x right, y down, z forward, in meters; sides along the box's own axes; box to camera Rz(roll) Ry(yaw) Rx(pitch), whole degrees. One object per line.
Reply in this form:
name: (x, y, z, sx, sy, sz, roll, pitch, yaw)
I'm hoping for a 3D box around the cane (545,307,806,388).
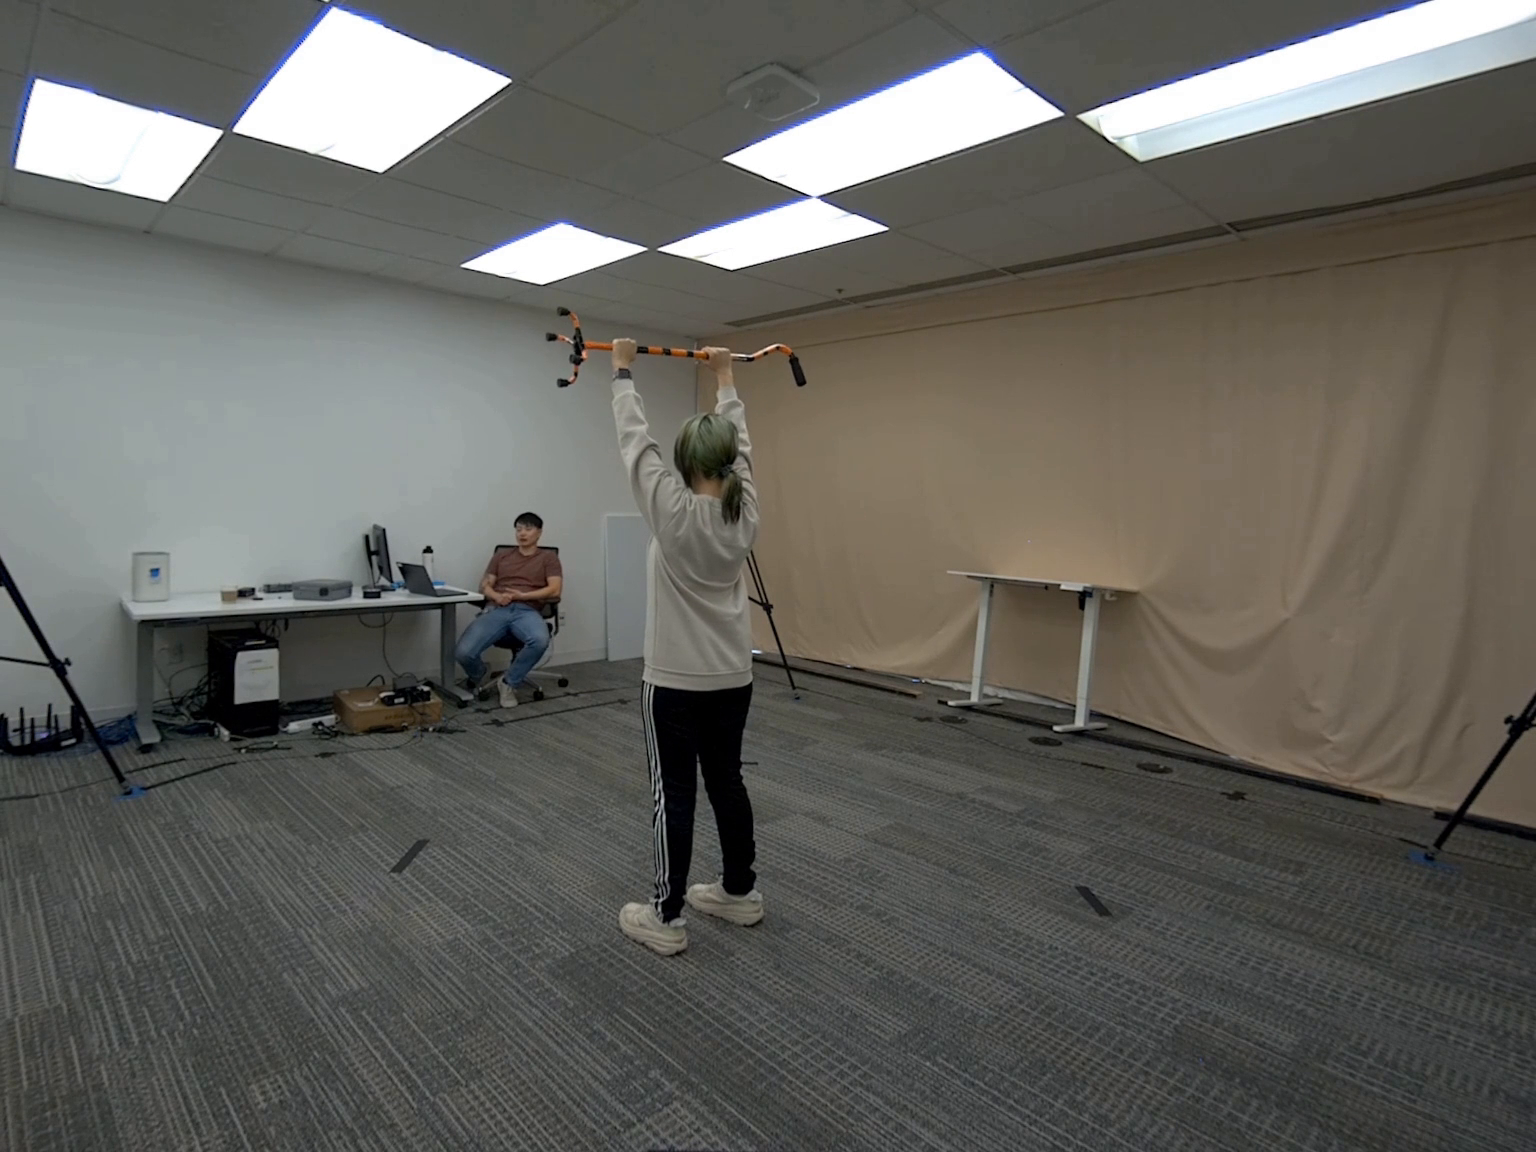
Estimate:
cane: (-0.270, -0.735, 2.824, 0.890, 0.210, 0.152, -5, -20, -32)
